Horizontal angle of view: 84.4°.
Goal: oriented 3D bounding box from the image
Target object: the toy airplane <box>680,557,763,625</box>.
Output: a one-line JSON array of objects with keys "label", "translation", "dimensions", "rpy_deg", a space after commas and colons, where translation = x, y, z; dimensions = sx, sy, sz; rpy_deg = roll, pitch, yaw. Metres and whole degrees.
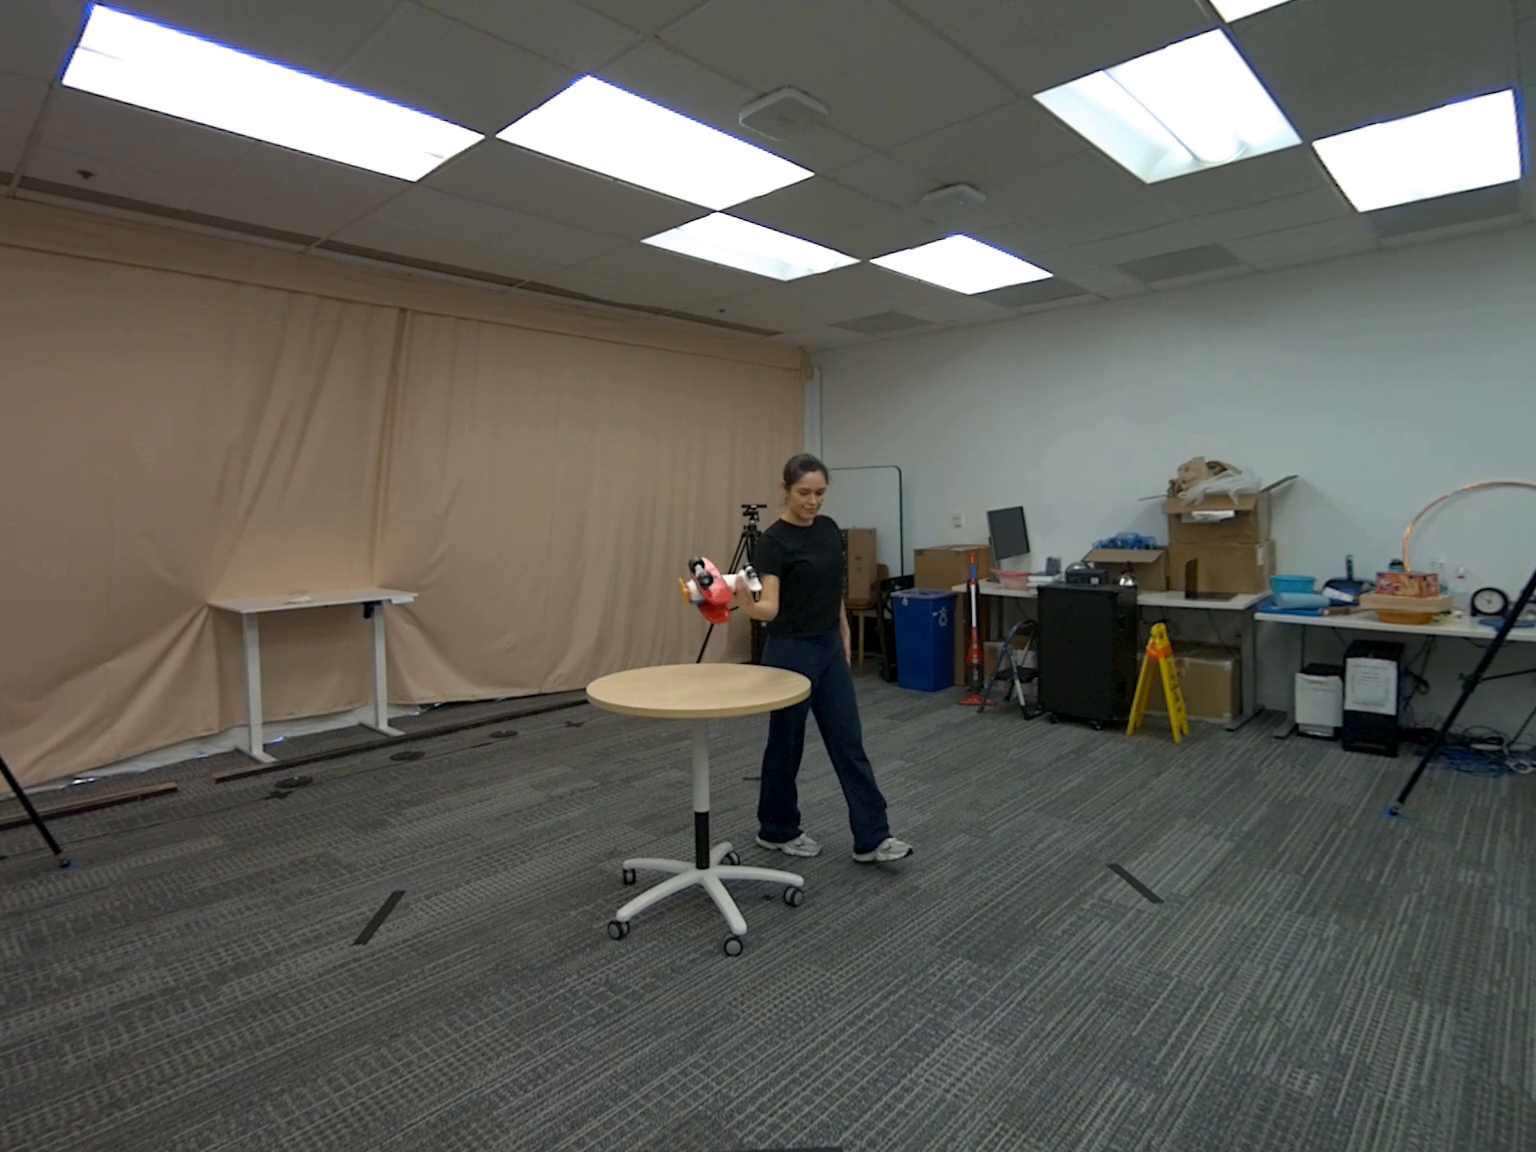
[{"label": "toy airplane", "translation": [-0.126, 0.033, 2.801], "dimensions": [0.259, 0.155, 0.253], "rpy_deg": [16, 28, -3]}]
